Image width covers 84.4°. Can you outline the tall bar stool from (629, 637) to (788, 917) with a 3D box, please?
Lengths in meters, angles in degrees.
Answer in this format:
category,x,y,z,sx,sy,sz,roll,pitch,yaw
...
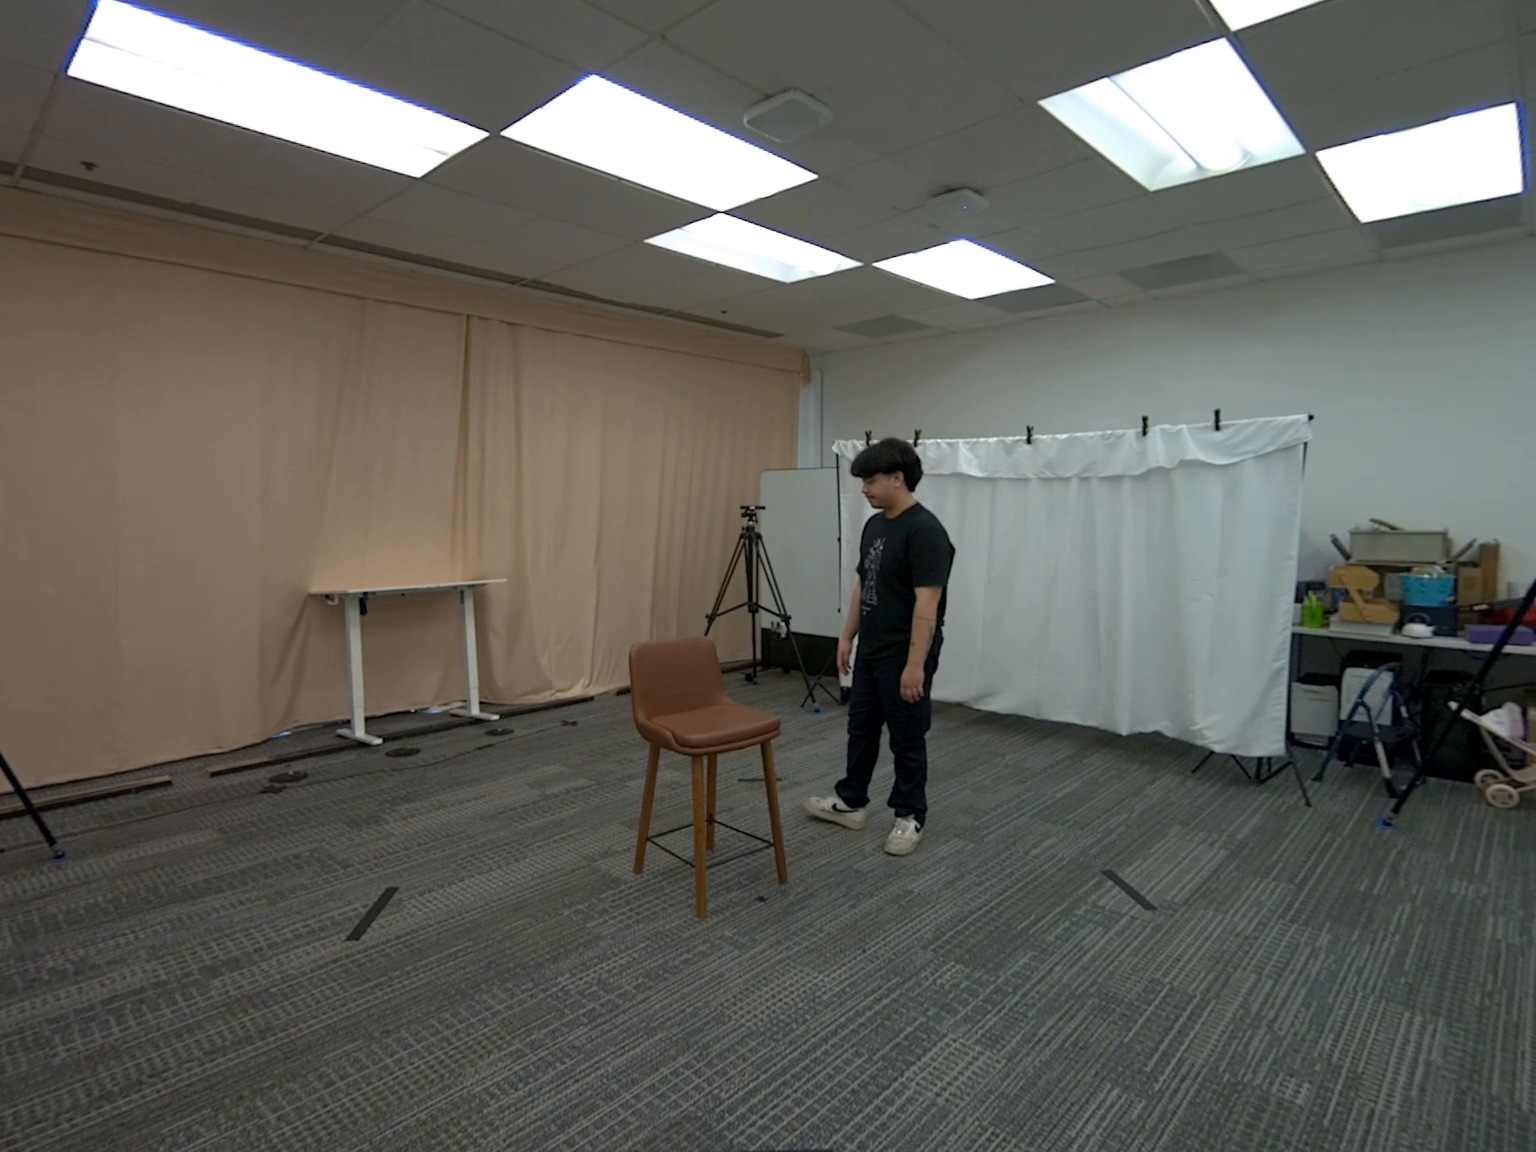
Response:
category,x,y,z,sx,sy,sz,roll,pitch,yaw
tall bar stool,-0.232,0.699,3.129,0.443,0.889,0.482,-3,2,-40
